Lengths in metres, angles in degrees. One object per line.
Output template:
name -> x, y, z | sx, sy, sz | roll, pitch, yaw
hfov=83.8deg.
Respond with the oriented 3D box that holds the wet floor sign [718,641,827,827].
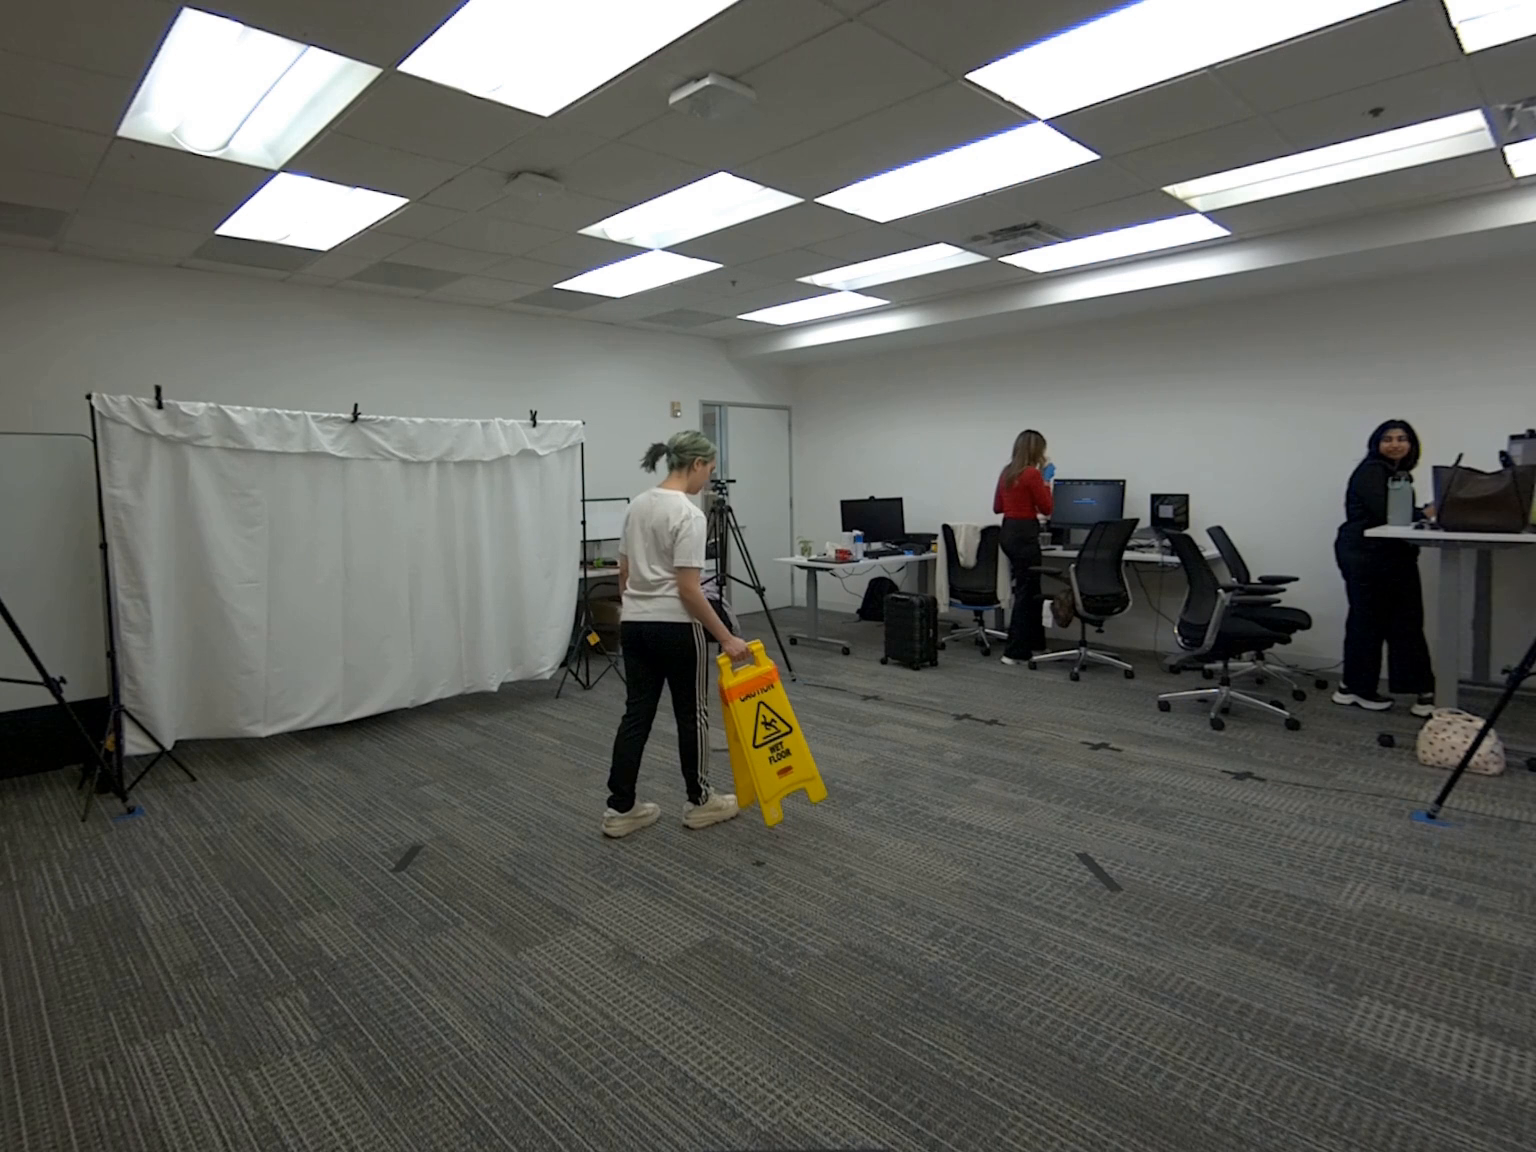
wet floor sign -> -0.034, 0.583, 3.329 | 0.278, 0.641, 0.296 | -18, 8, -26
